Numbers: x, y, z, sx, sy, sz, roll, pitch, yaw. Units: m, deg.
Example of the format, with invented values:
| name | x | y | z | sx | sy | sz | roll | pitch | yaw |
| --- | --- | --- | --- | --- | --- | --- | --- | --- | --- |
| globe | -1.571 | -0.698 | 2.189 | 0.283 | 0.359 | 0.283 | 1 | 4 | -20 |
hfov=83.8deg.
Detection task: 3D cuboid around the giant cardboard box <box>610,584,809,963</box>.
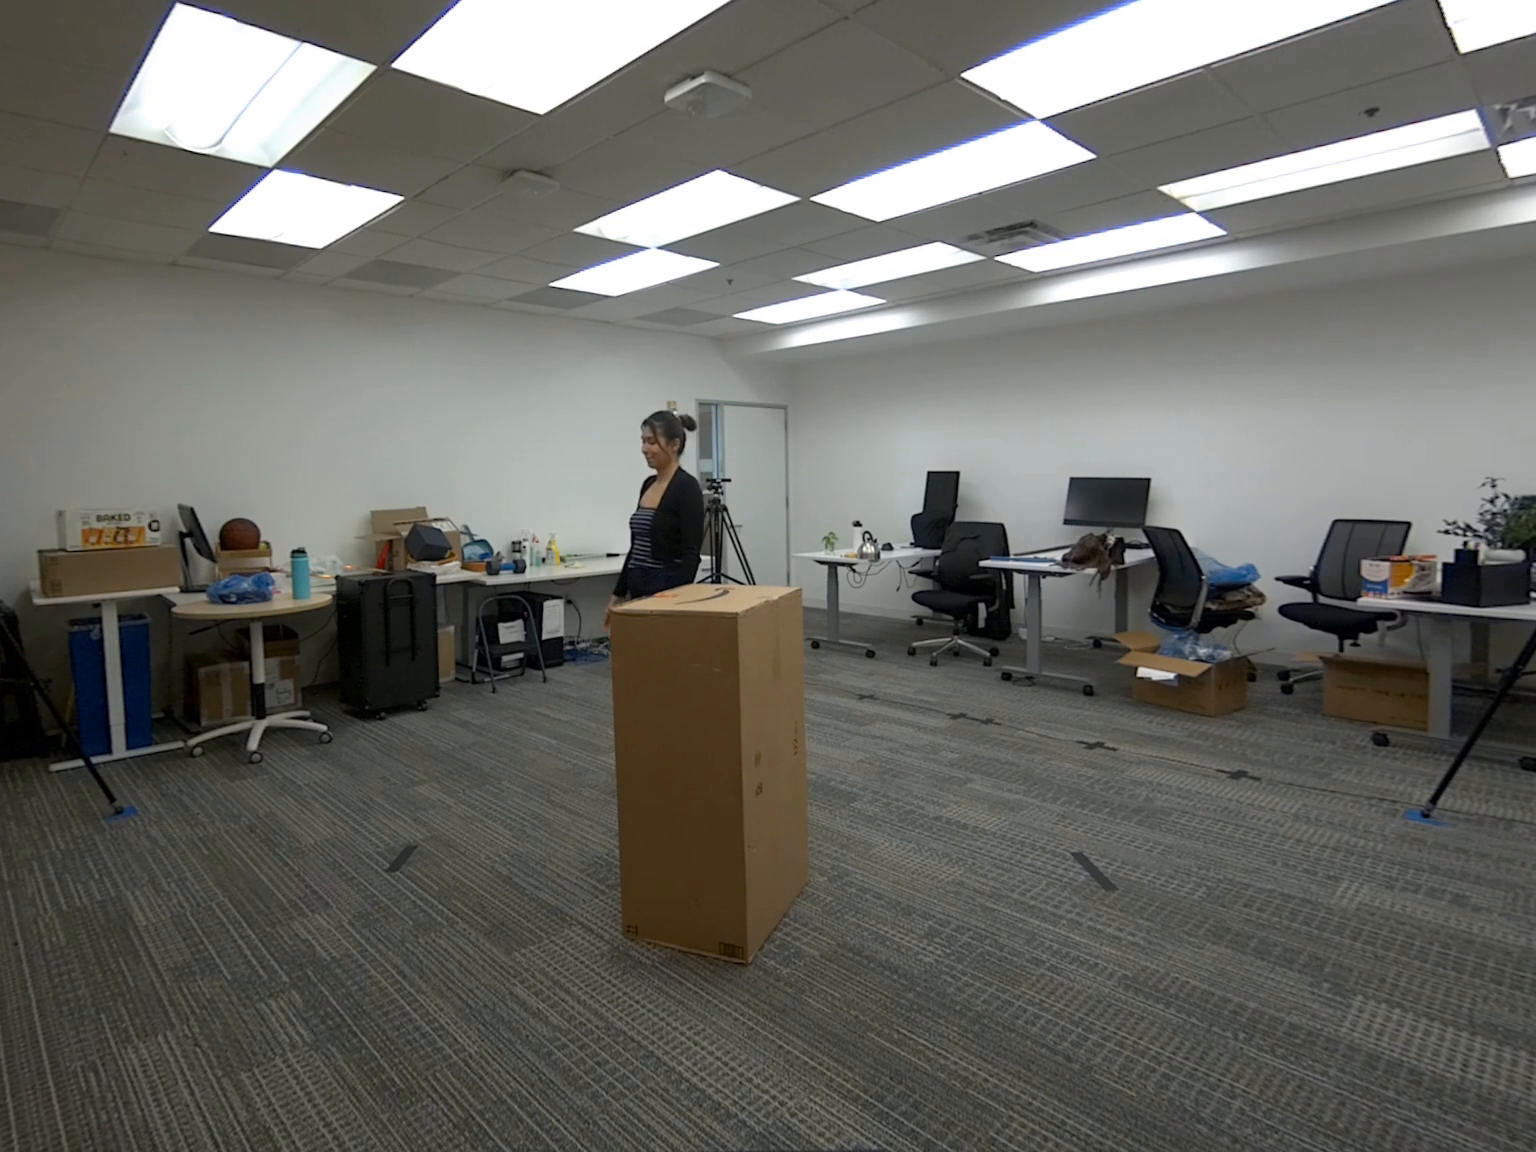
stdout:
| name | x | y | z | sx | sy | sz | roll | pitch | yaw |
| --- | --- | --- | --- | --- | --- | --- | --- | --- | --- |
| giant cardboard box | -0.165 | 0.577 | 2.762 | 0.435 | 1.022 | 0.567 | 0 | 4 | 23 |
